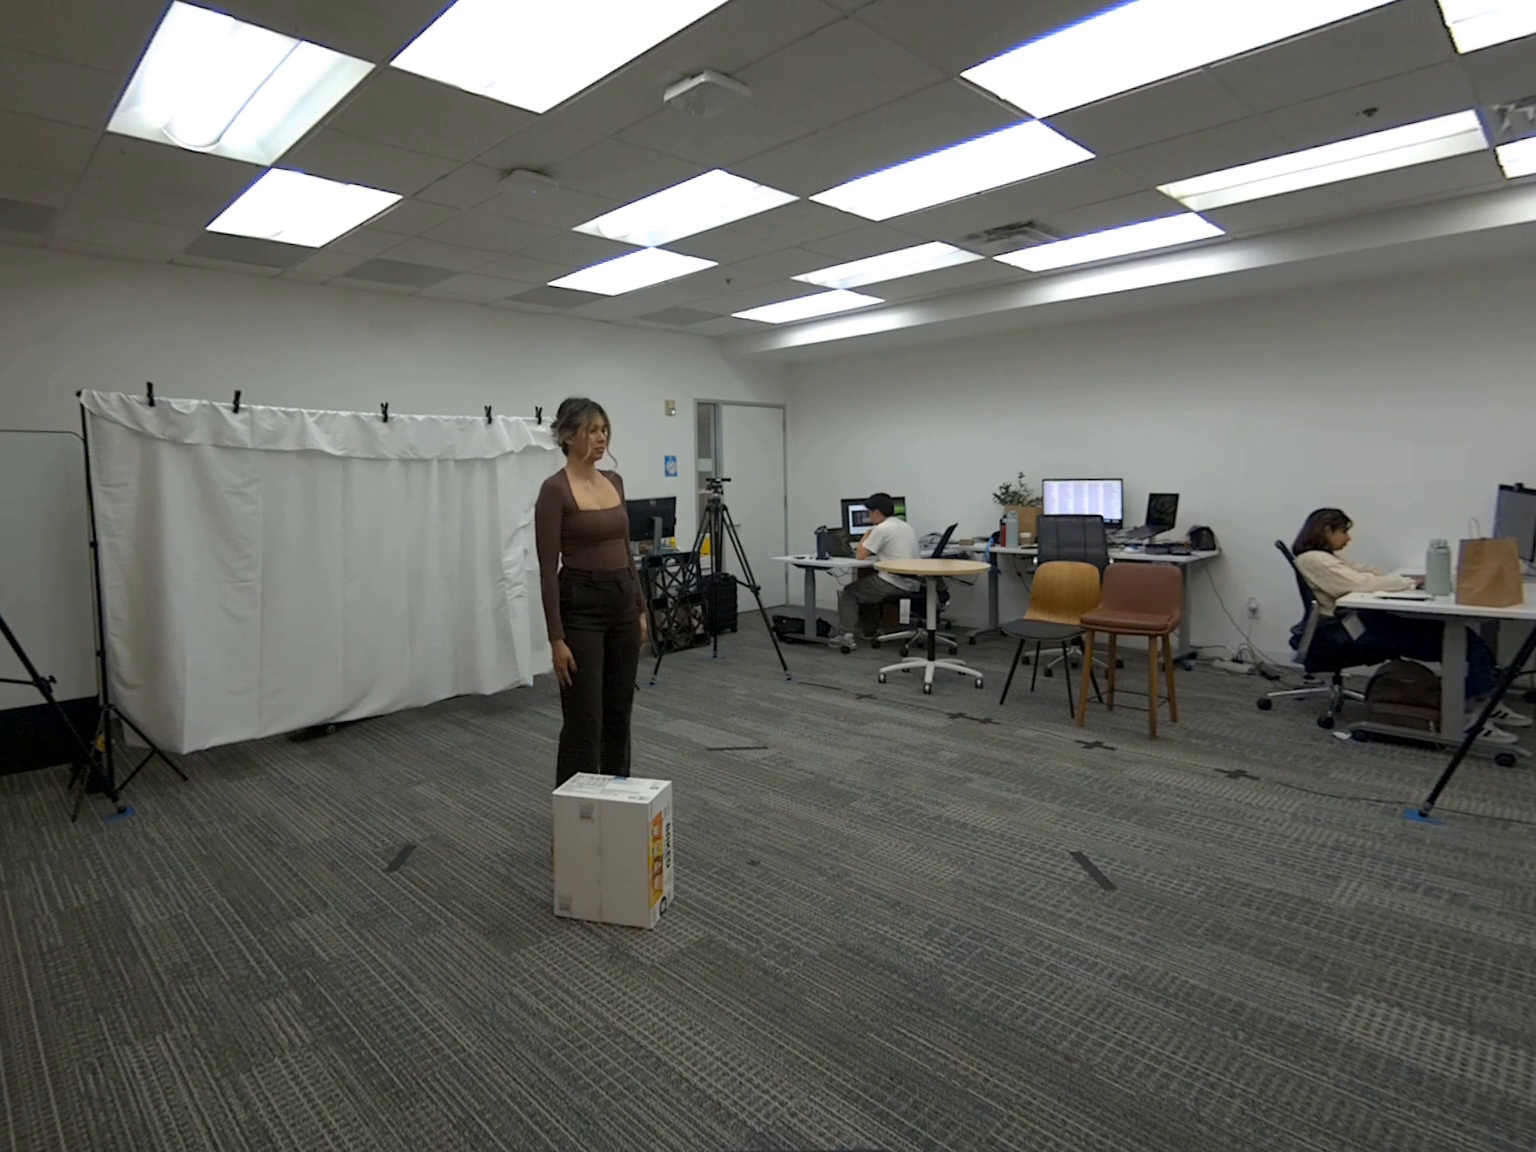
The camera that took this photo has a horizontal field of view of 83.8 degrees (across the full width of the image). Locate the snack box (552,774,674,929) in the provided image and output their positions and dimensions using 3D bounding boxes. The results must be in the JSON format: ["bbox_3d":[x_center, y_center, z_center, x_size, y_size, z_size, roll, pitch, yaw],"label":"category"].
[{"bbox_3d":[-0.506,0.889,2.783,0.345,0.403,0.203,0,4,15],"label":"snack box"}]
